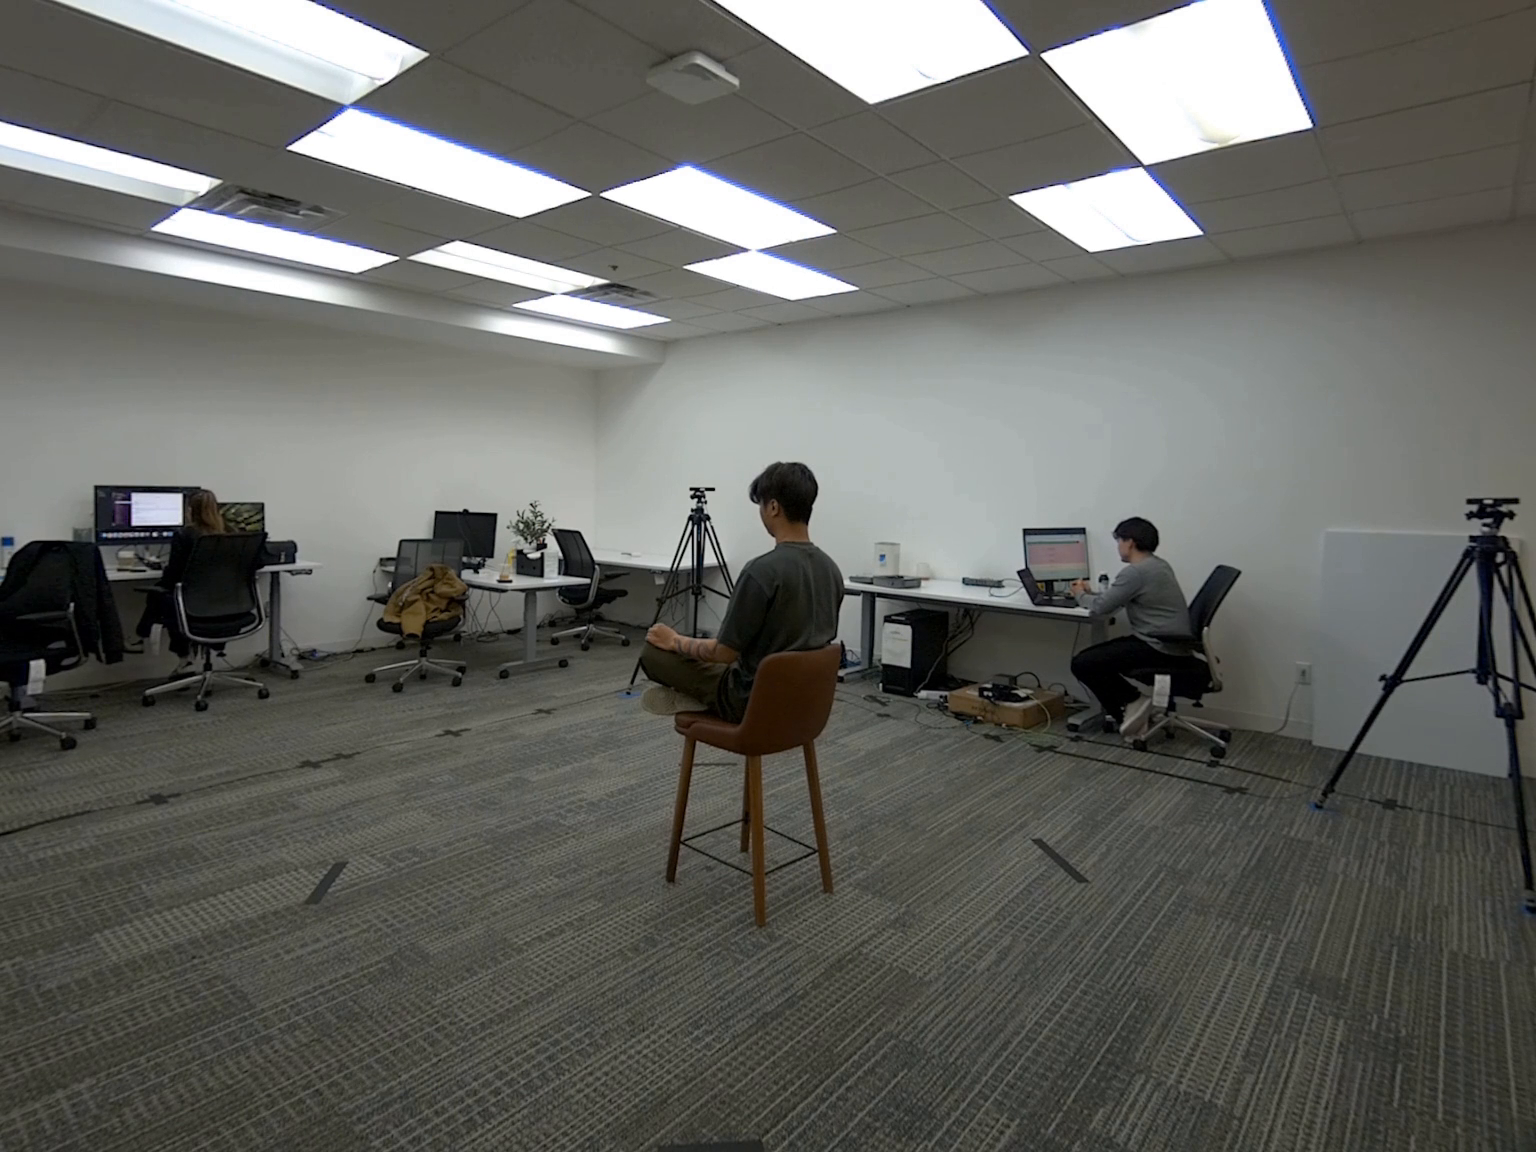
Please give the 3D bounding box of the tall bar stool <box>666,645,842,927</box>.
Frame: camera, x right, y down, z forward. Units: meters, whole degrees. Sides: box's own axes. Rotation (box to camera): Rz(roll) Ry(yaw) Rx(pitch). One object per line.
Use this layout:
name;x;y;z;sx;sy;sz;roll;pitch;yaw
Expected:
tall bar stool;-0.052;0.650;2.953;0.484;0.886;0.442;8;6;44
